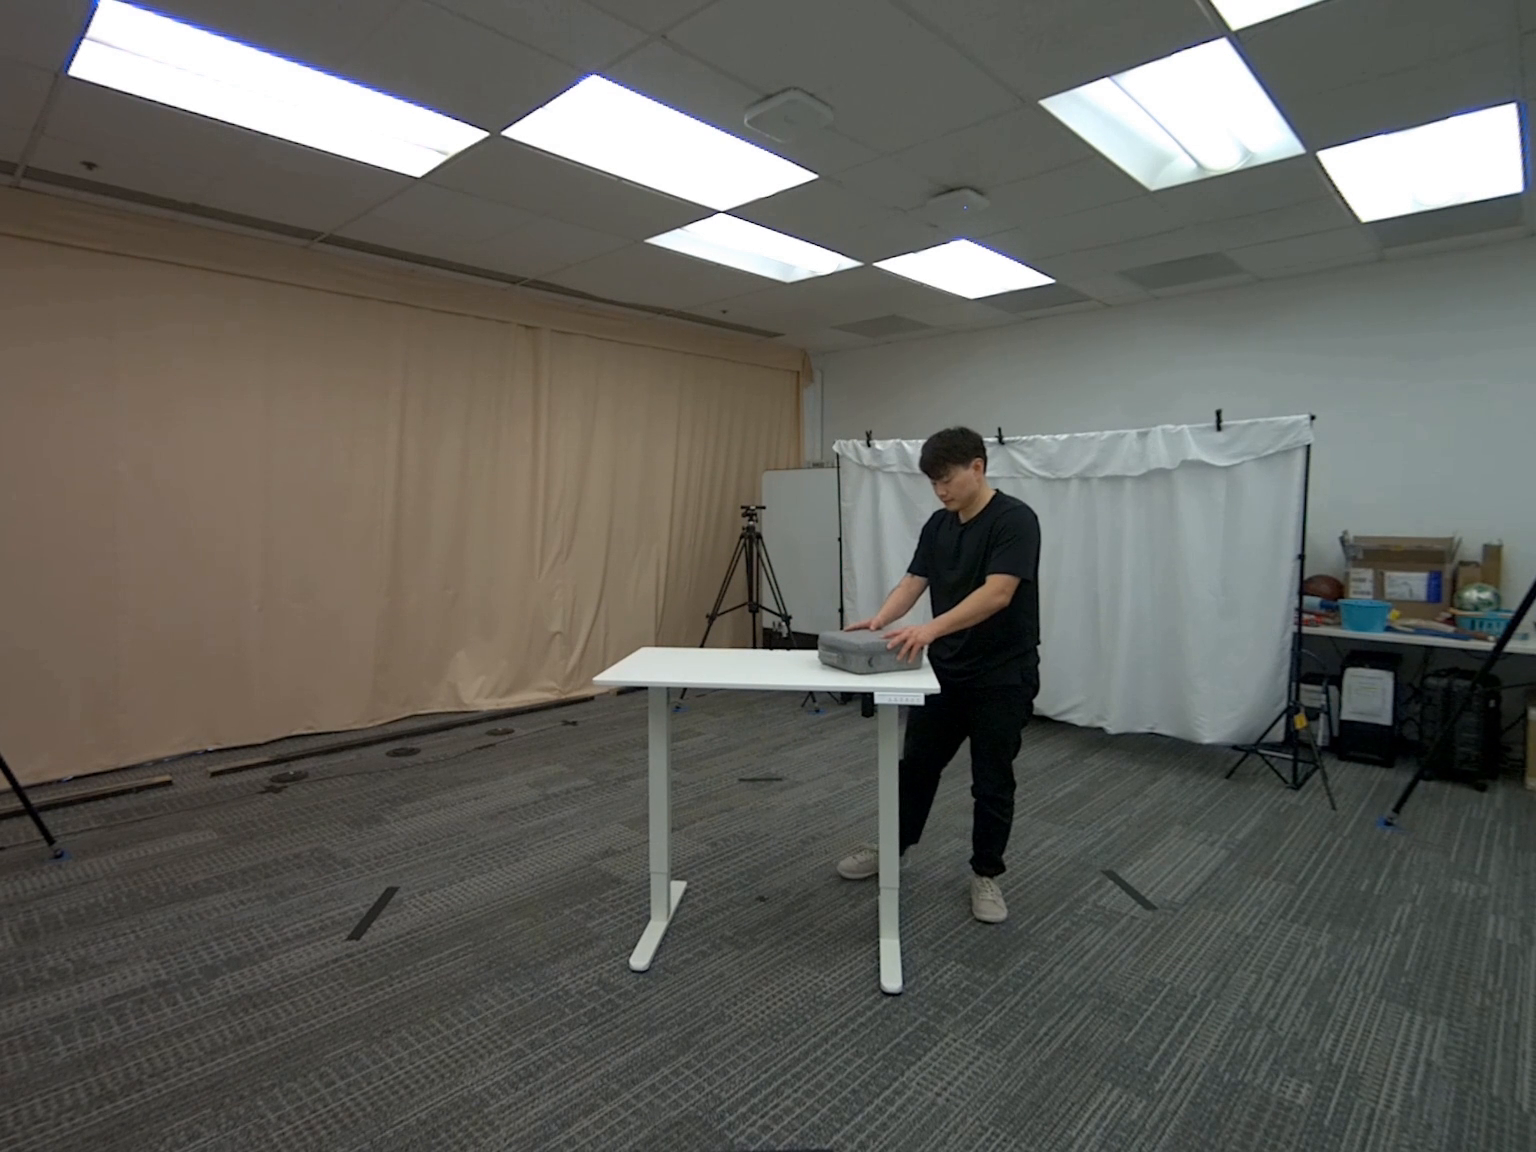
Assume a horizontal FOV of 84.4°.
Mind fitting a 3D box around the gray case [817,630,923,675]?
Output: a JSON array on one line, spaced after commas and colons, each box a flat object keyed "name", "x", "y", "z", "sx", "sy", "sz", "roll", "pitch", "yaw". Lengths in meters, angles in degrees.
[{"name": "gray case", "x": 0.320, "y": 0.237, "z": 2.650, "sx": 0.255, "sy": 0.104, "sz": 0.264, "roll": -3, "pitch": 7, "yaw": -24}]
